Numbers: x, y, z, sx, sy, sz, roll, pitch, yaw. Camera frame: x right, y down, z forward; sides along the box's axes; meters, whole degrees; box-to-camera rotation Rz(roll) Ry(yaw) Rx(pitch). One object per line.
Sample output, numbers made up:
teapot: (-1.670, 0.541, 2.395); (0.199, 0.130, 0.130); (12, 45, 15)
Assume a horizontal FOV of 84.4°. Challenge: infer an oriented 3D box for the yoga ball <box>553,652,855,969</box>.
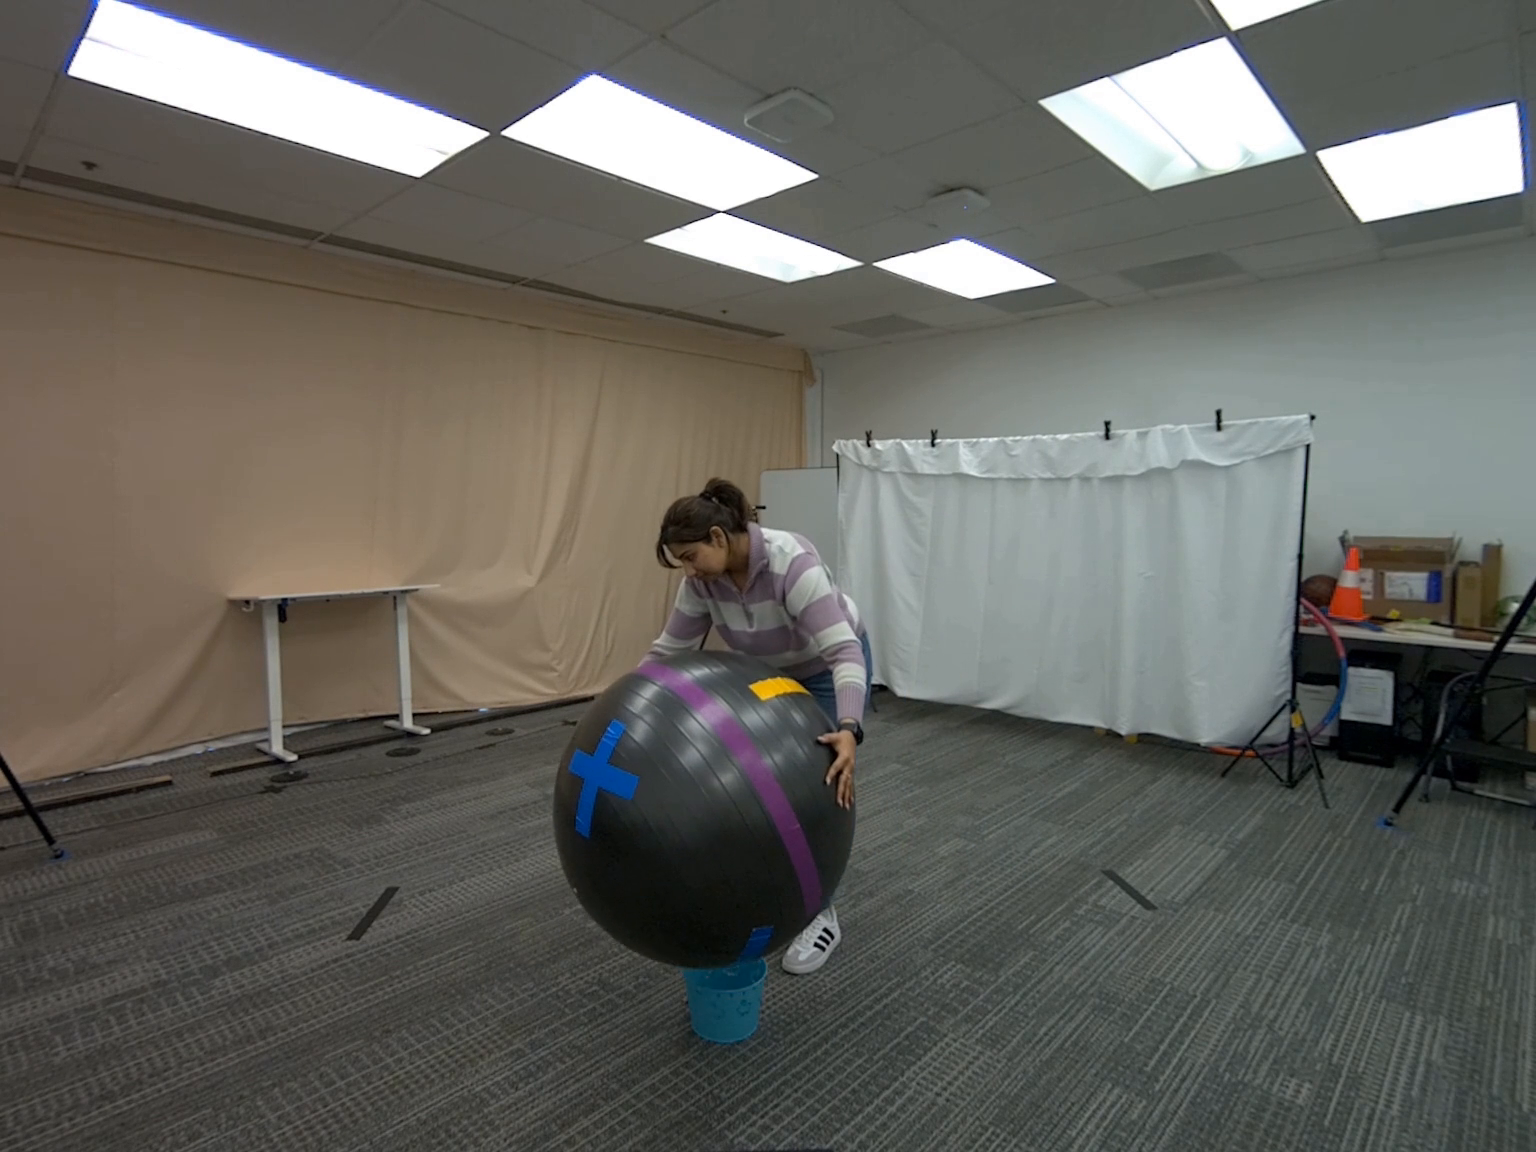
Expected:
yoga ball: (-0.165, 0.574, 2.113); (0.757, 0.756, 0.761); (0, 4, -2)
